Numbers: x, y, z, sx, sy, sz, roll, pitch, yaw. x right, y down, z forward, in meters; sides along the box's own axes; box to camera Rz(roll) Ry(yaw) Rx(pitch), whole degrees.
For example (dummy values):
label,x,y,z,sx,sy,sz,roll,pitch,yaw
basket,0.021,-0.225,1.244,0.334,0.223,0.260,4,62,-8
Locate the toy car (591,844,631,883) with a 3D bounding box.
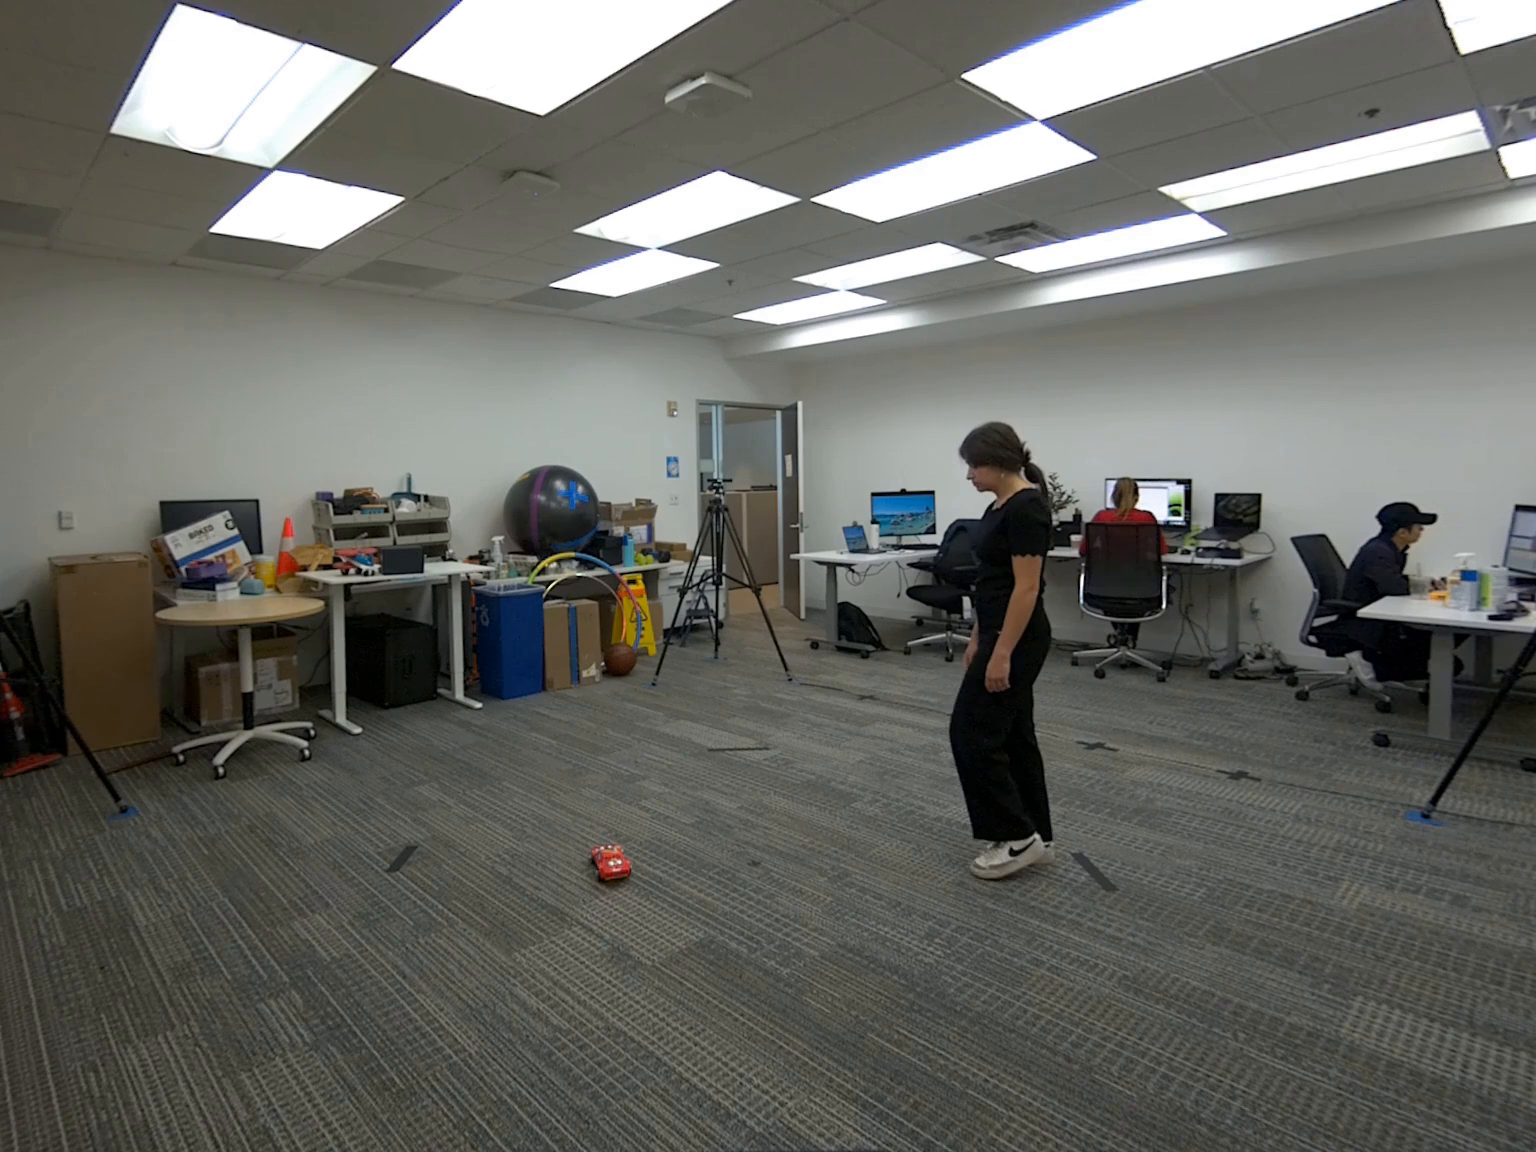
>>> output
label,x,y,z,sx,sy,sz,roll,pitch,yaw
toy car,-0.561,1.026,3.054,0.128,0.084,0.257,-4,-4,-20
